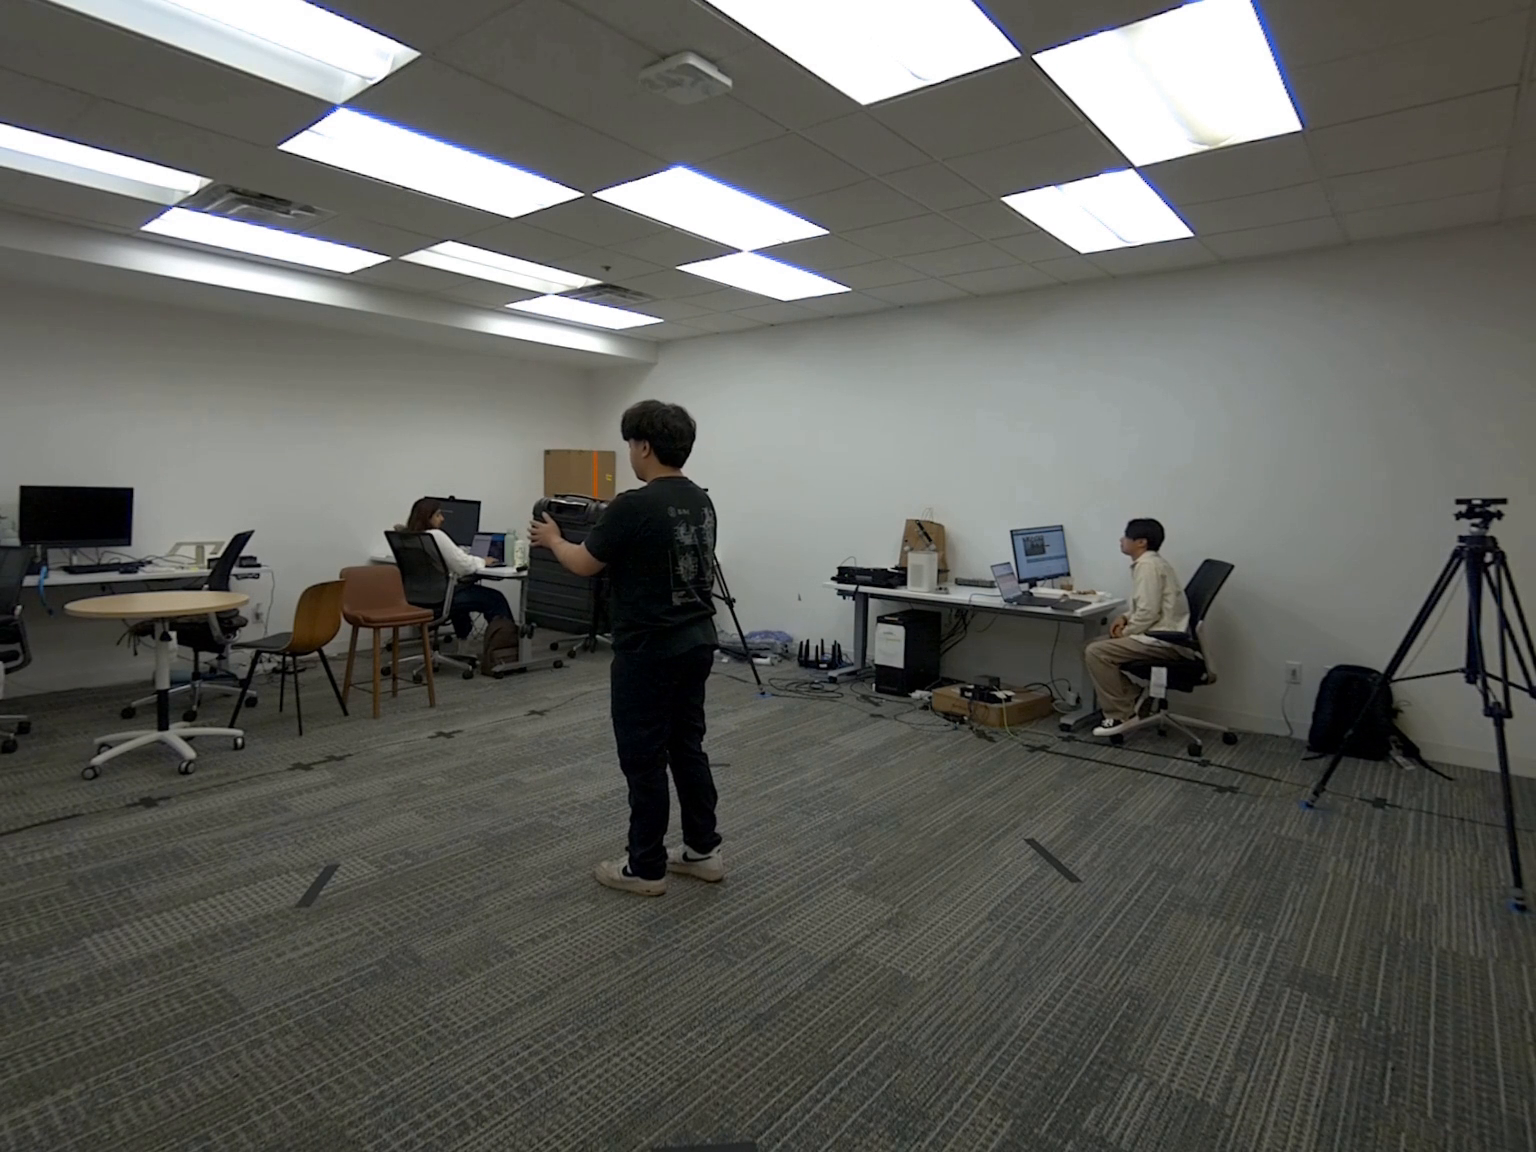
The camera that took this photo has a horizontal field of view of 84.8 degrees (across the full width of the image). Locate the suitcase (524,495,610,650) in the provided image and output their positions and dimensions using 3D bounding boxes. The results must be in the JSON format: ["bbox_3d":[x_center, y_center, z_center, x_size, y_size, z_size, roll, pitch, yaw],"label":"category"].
[{"bbox_3d":[-0.743,-0.035,3.225,0.386,0.547,0.242,6,5,26],"label":"suitcase"}]
